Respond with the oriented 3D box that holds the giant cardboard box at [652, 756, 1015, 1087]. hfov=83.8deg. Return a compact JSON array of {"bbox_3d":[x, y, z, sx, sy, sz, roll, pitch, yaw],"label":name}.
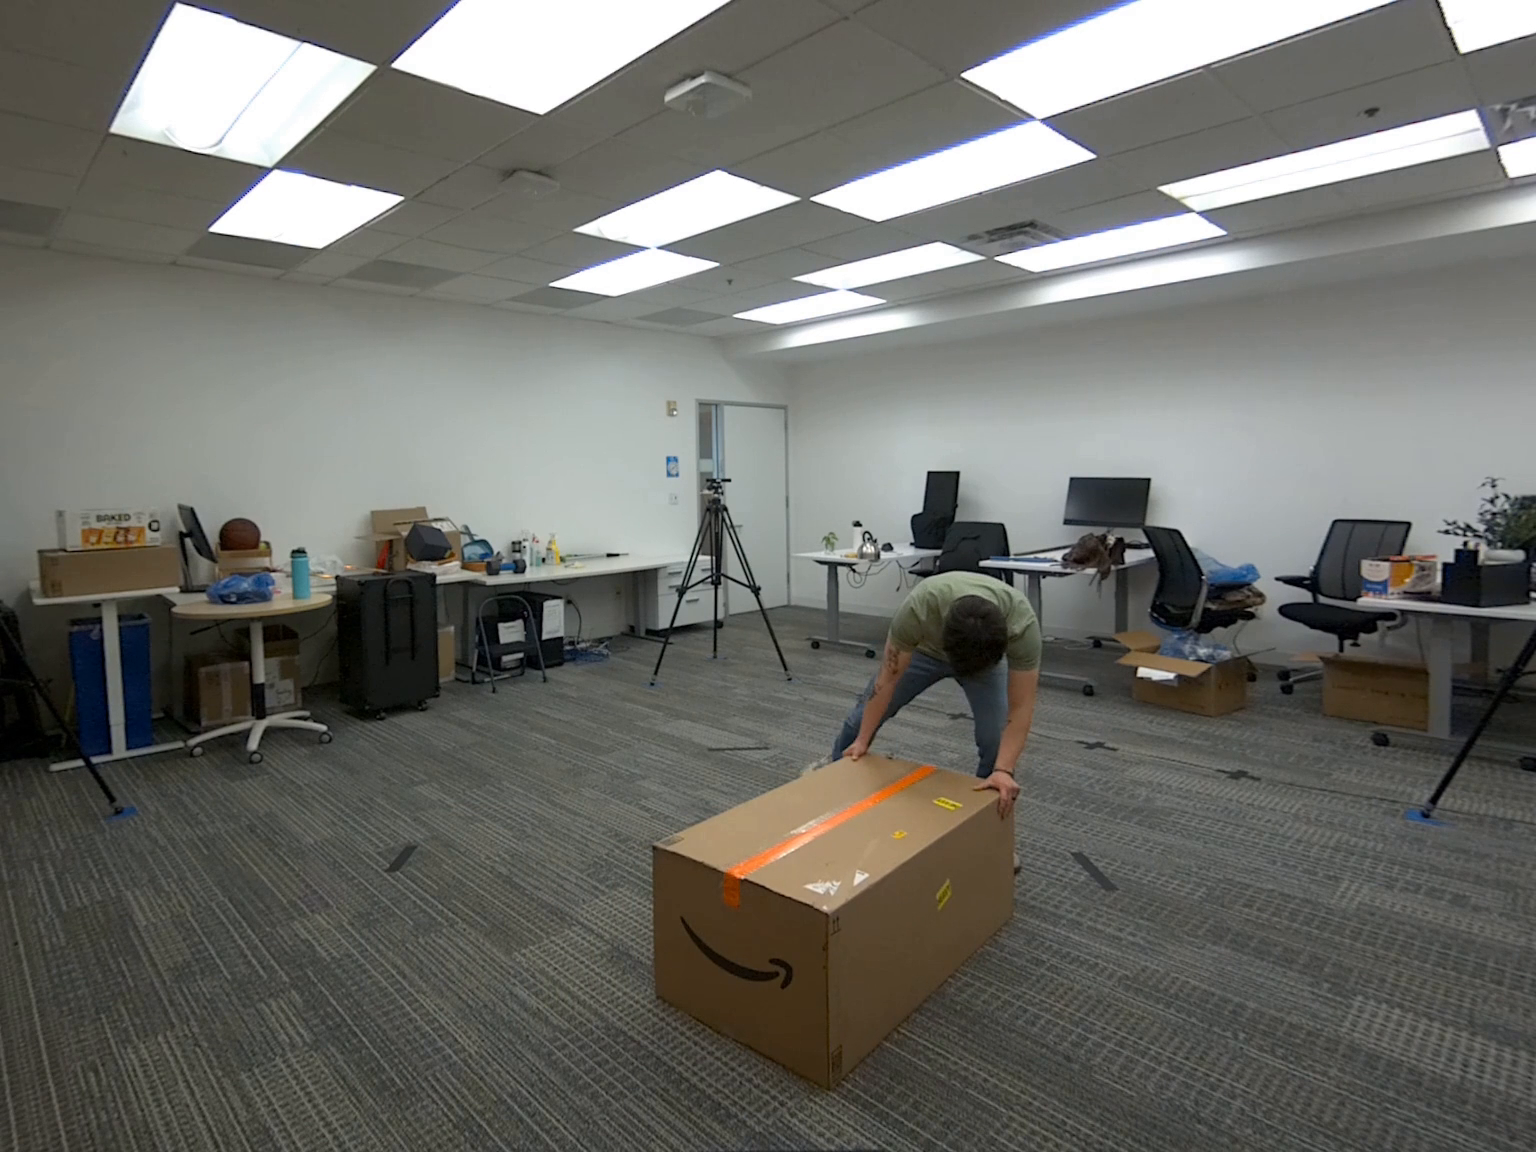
[{"bbox_3d":[0.231,0.896,2.499,0.595,0.424,1.000,4,8,40],"label":"giant cardboard box"}]
